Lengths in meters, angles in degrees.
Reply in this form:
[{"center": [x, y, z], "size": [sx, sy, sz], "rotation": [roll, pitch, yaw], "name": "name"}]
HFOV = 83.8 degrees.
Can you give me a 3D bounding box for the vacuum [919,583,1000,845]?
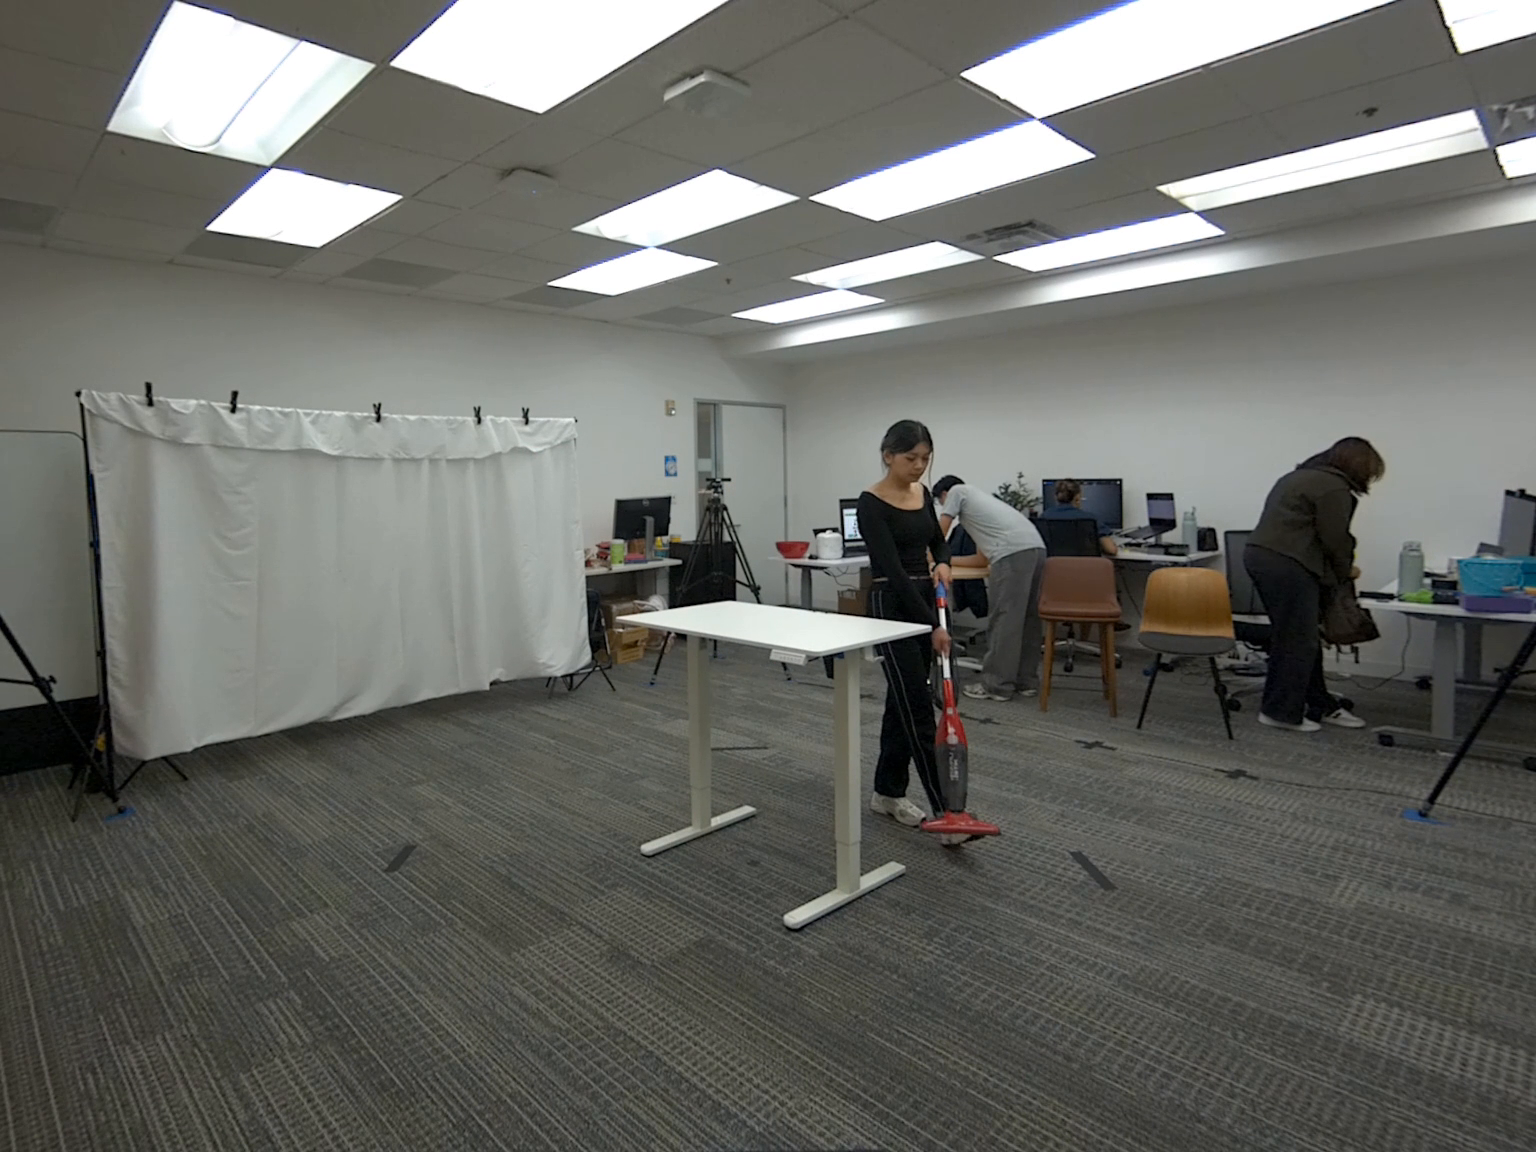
[{"center": [0.659, 0.399, 3.096], "size": [0.257, 1.073, 0.138], "rotation": [-12, -38, 22], "name": "vacuum"}]
